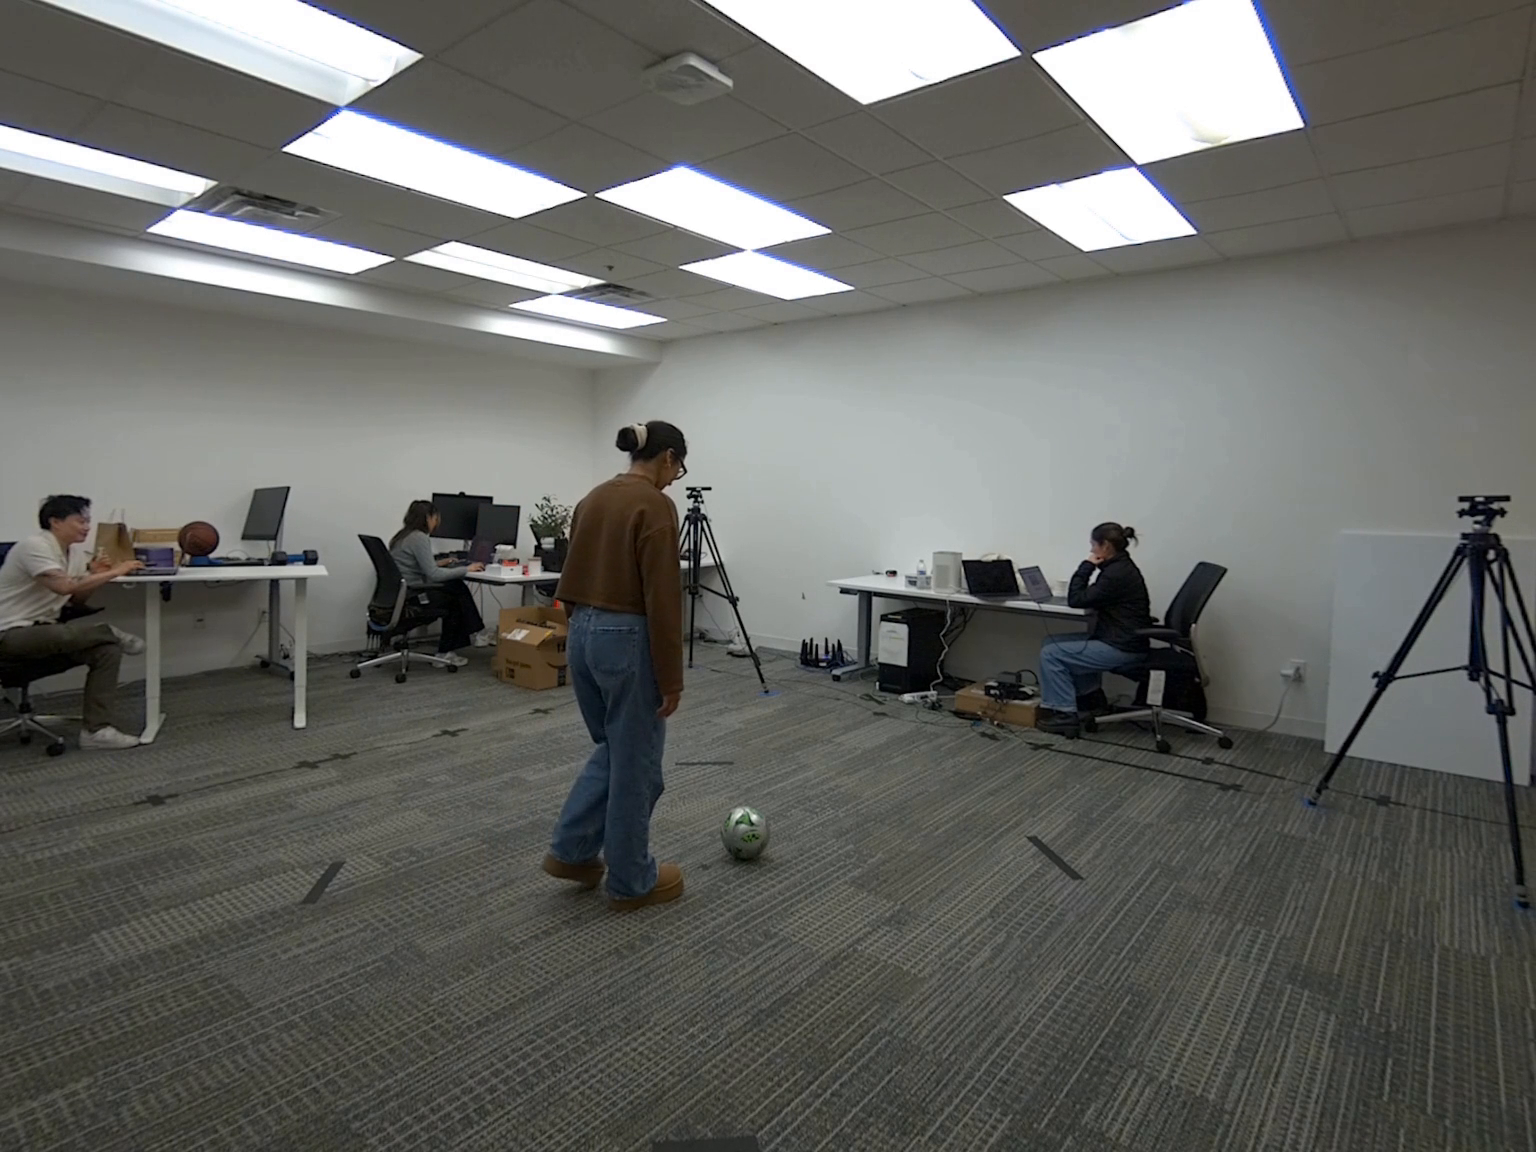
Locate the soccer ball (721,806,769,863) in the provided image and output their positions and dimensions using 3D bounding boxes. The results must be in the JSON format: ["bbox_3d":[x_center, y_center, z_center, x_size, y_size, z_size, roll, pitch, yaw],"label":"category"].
[{"bbox_3d":[-0.093,0.960,3.207,0.187,0.187,0.188,1,4,-2],"label":"soccer ball"}]
